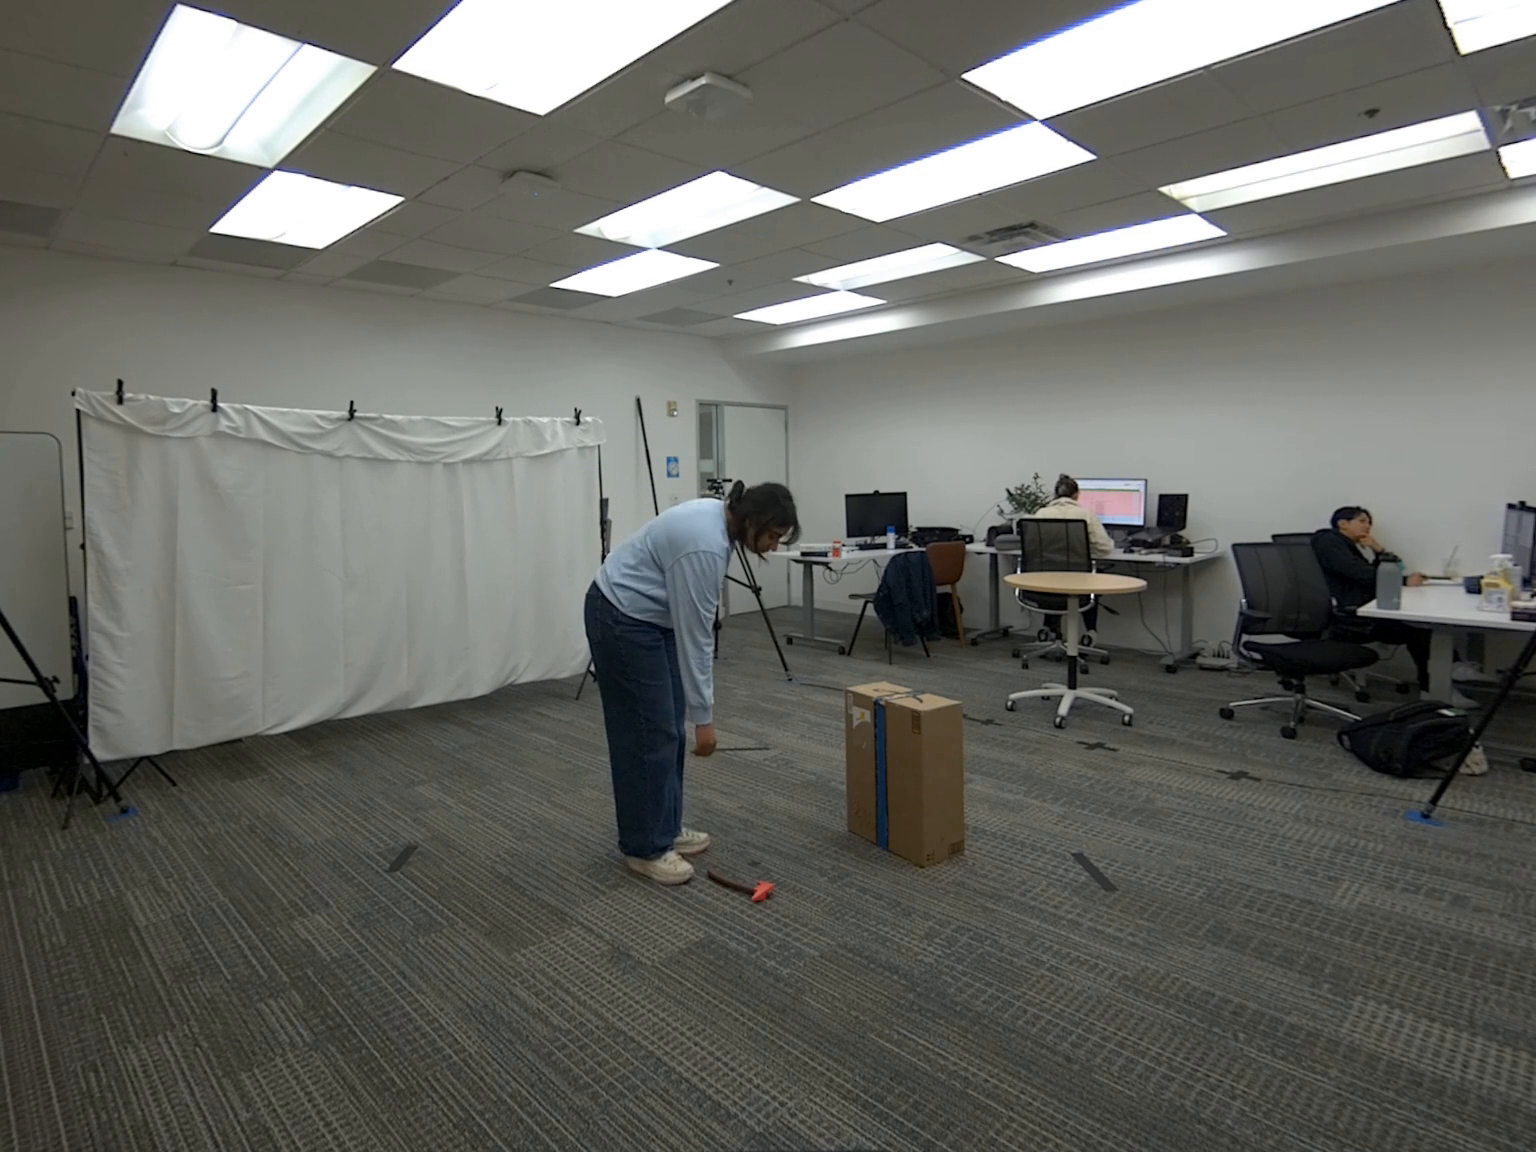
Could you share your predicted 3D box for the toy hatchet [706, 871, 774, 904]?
[{"bbox_3d":[-0.082,1.052,2.942,0.127,0.029,0.278,-5,6,-39],"label":"toy hatchet"}]
